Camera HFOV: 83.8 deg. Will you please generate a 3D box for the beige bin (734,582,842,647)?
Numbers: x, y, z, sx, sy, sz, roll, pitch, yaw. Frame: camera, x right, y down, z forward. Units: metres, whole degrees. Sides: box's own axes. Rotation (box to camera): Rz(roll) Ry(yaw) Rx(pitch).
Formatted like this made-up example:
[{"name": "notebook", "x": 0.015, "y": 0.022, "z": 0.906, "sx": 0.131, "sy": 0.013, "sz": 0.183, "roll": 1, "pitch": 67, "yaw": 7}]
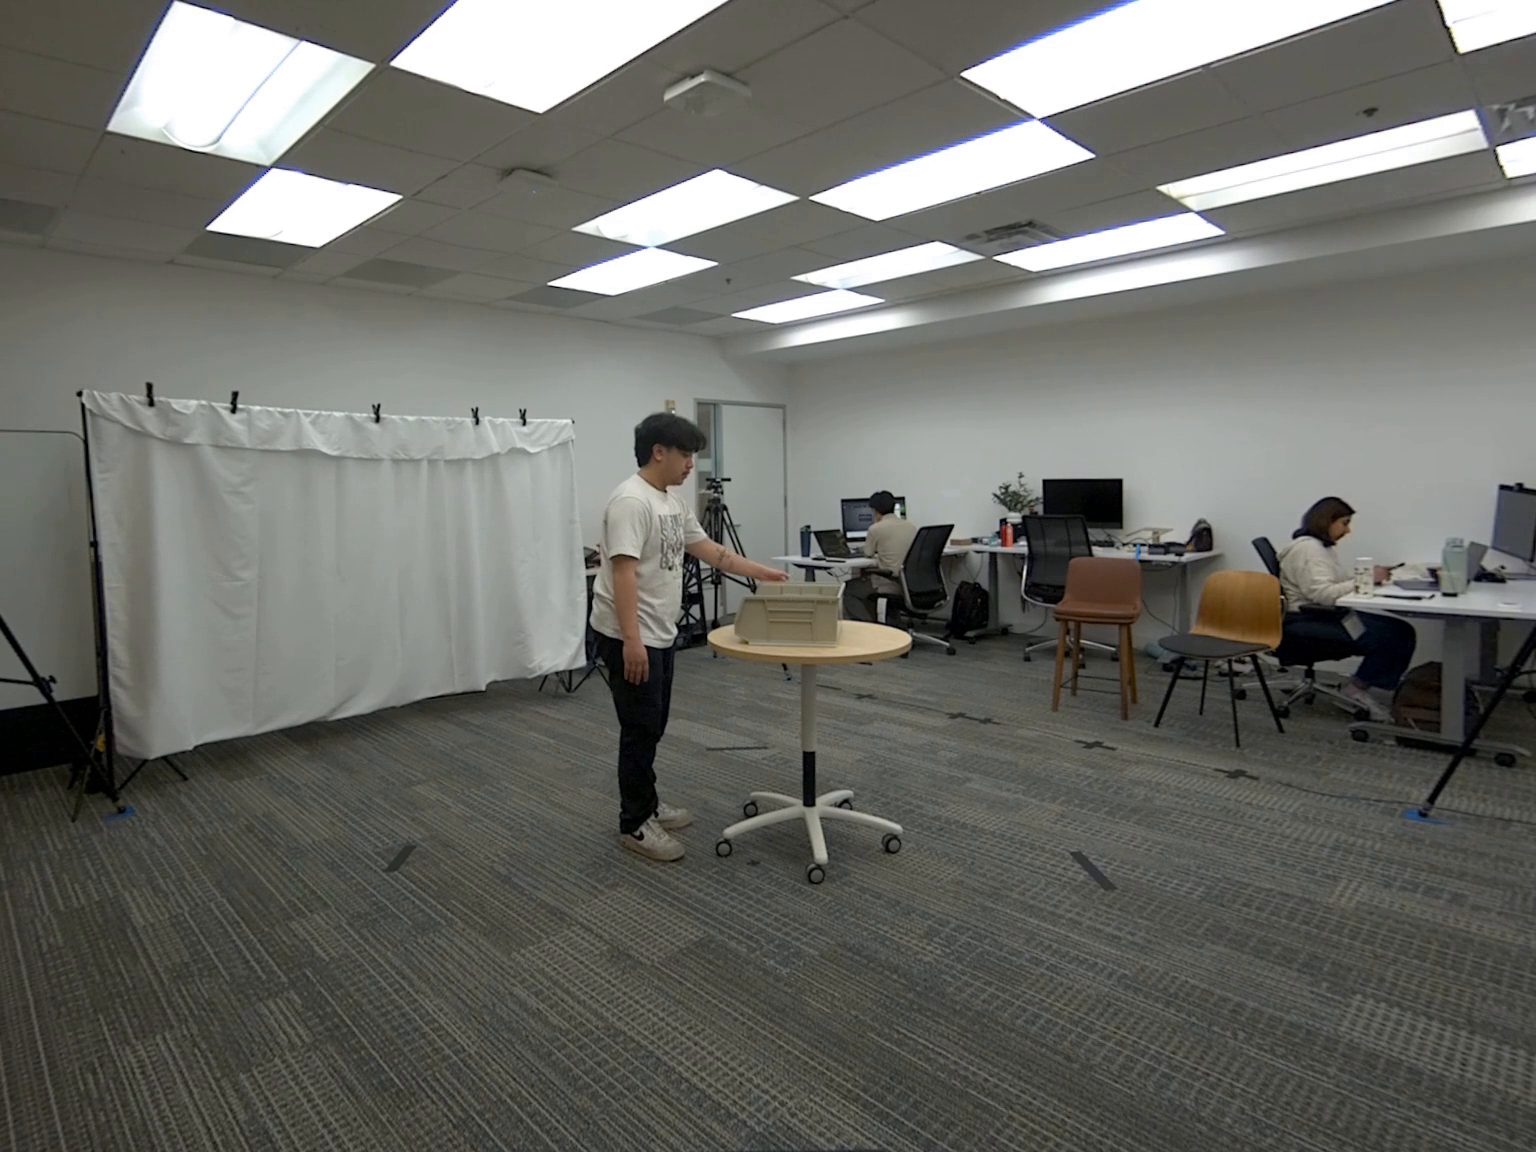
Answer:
[{"name": "beige bin", "x": 0.087, "y": 0.139, "z": 3.227, "sx": 0.381, "sy": 0.188, "sz": 0.420, "roll": 2, "pitch": 6, "yaw": 9}]
